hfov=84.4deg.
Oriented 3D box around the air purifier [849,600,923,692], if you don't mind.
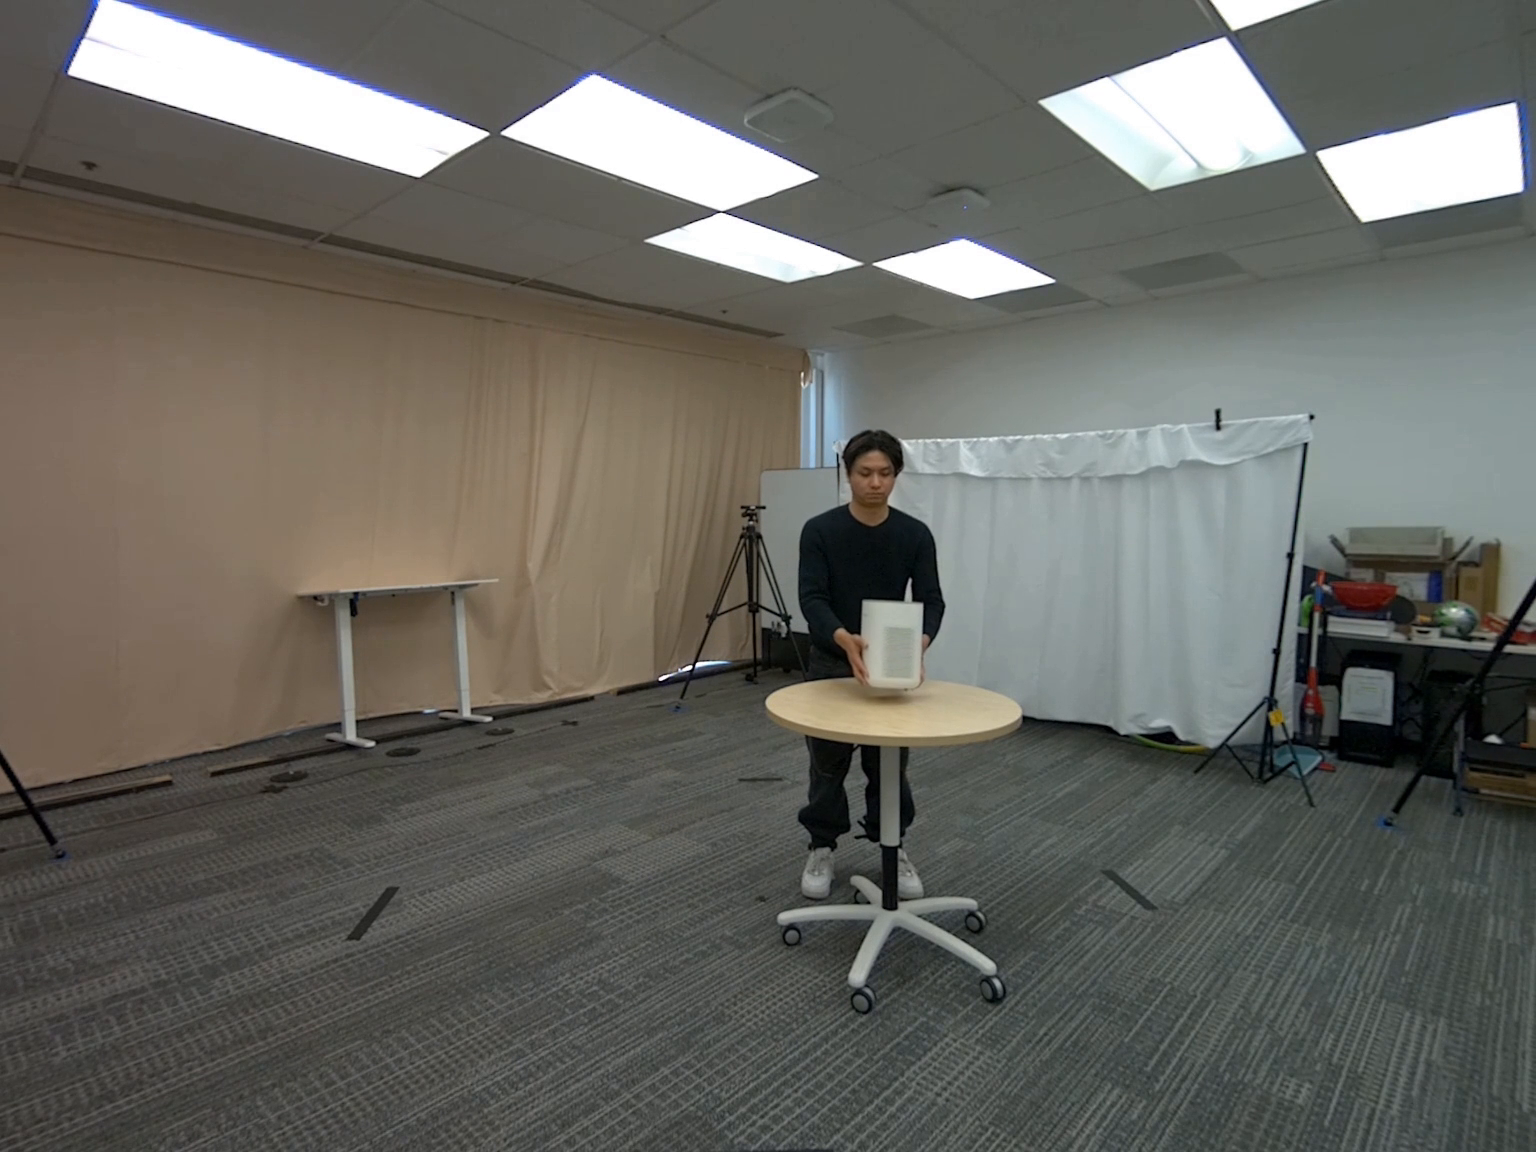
[{"bbox_3d":[0.361,0.205,2.614,0.171,0.266,0.171,4,-3,-4],"label":"air purifier"}]
